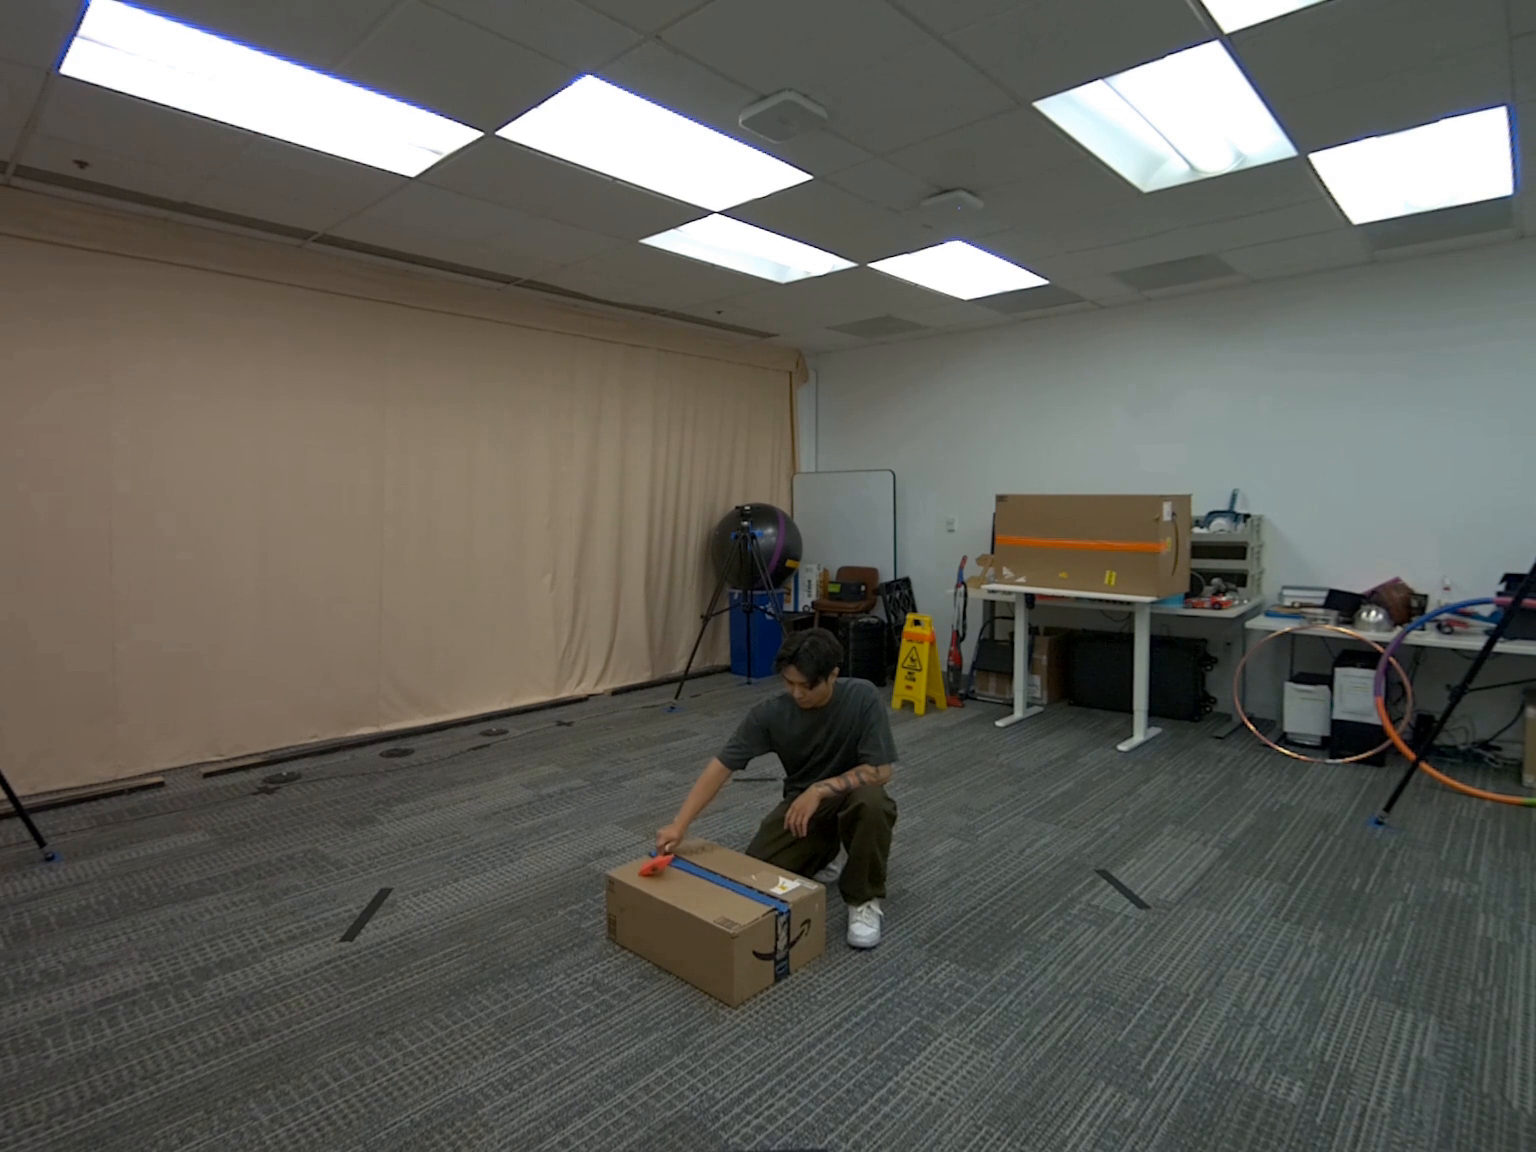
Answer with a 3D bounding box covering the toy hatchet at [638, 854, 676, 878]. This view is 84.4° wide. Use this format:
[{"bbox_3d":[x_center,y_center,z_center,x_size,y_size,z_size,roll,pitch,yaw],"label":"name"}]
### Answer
[{"bbox_3d":[-0.368,0.918,2.784,0.130,0.029,0.272,-33,3,-8],"label":"toy hatchet"}]
